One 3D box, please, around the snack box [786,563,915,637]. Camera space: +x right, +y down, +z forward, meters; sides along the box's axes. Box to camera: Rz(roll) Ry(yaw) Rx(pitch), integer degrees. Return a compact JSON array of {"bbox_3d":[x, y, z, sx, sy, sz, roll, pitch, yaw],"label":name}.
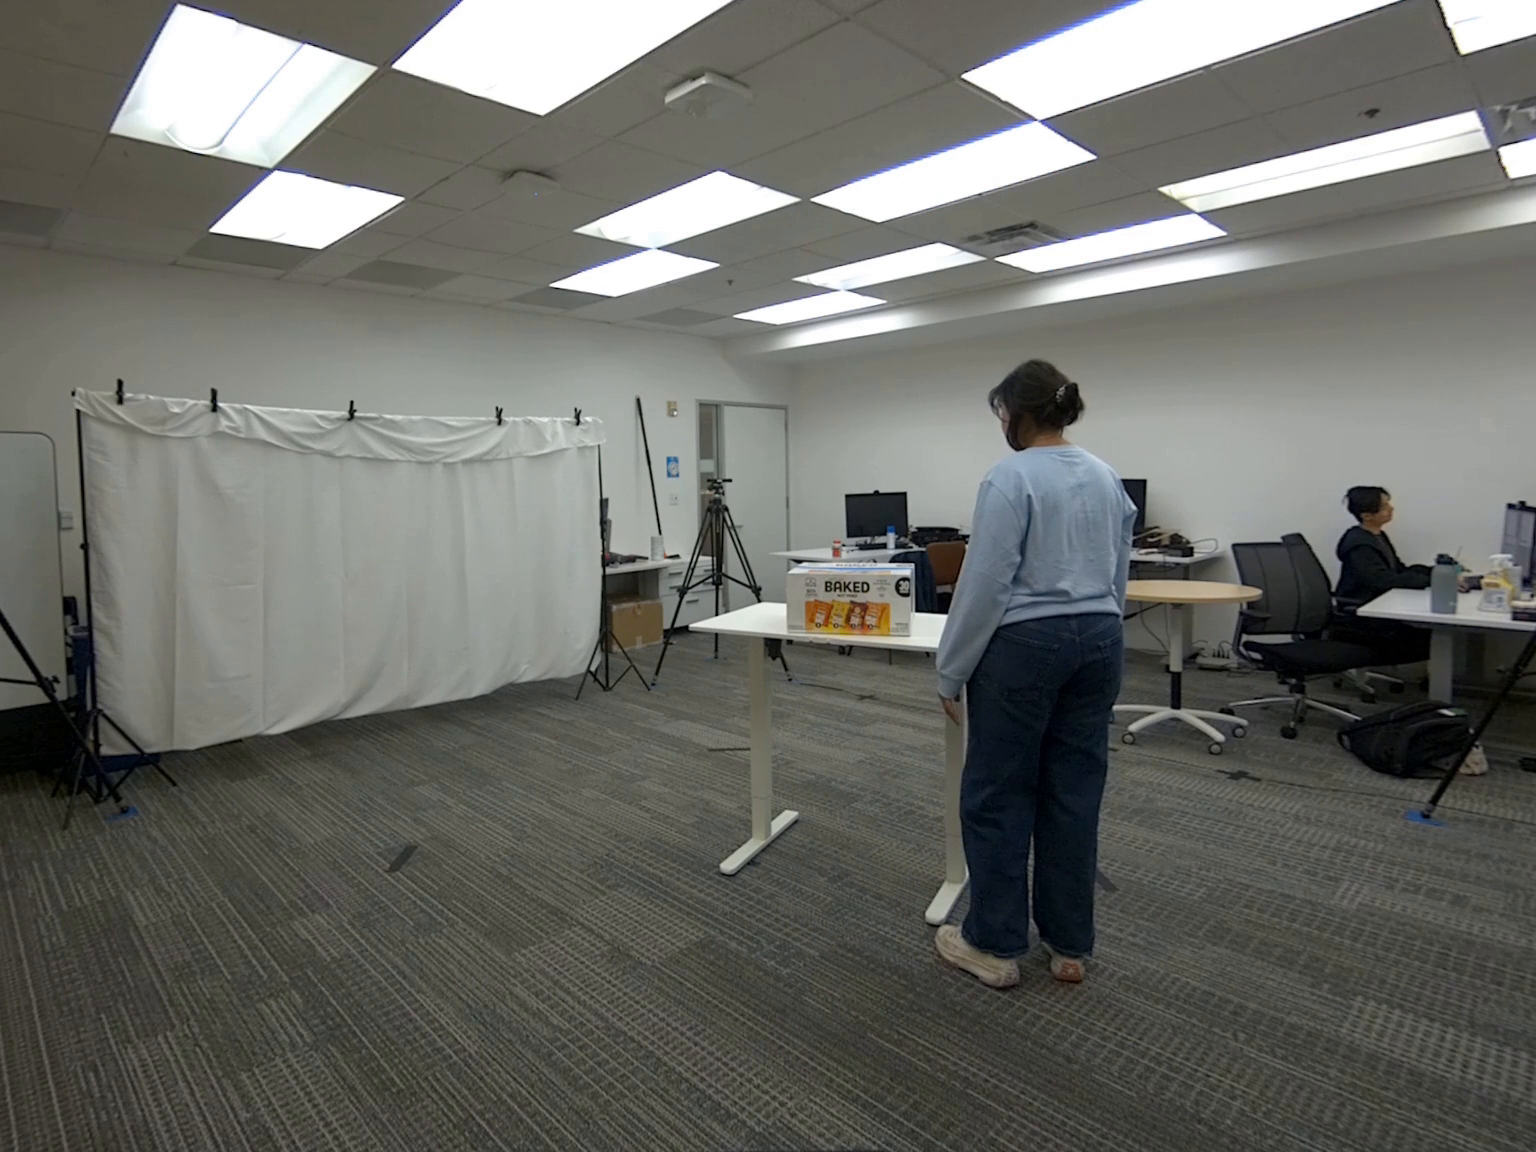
[{"bbox_3d":[0.296,0.071,2.952,0.411,0.205,0.337,1,7,13],"label":"snack box"}]
